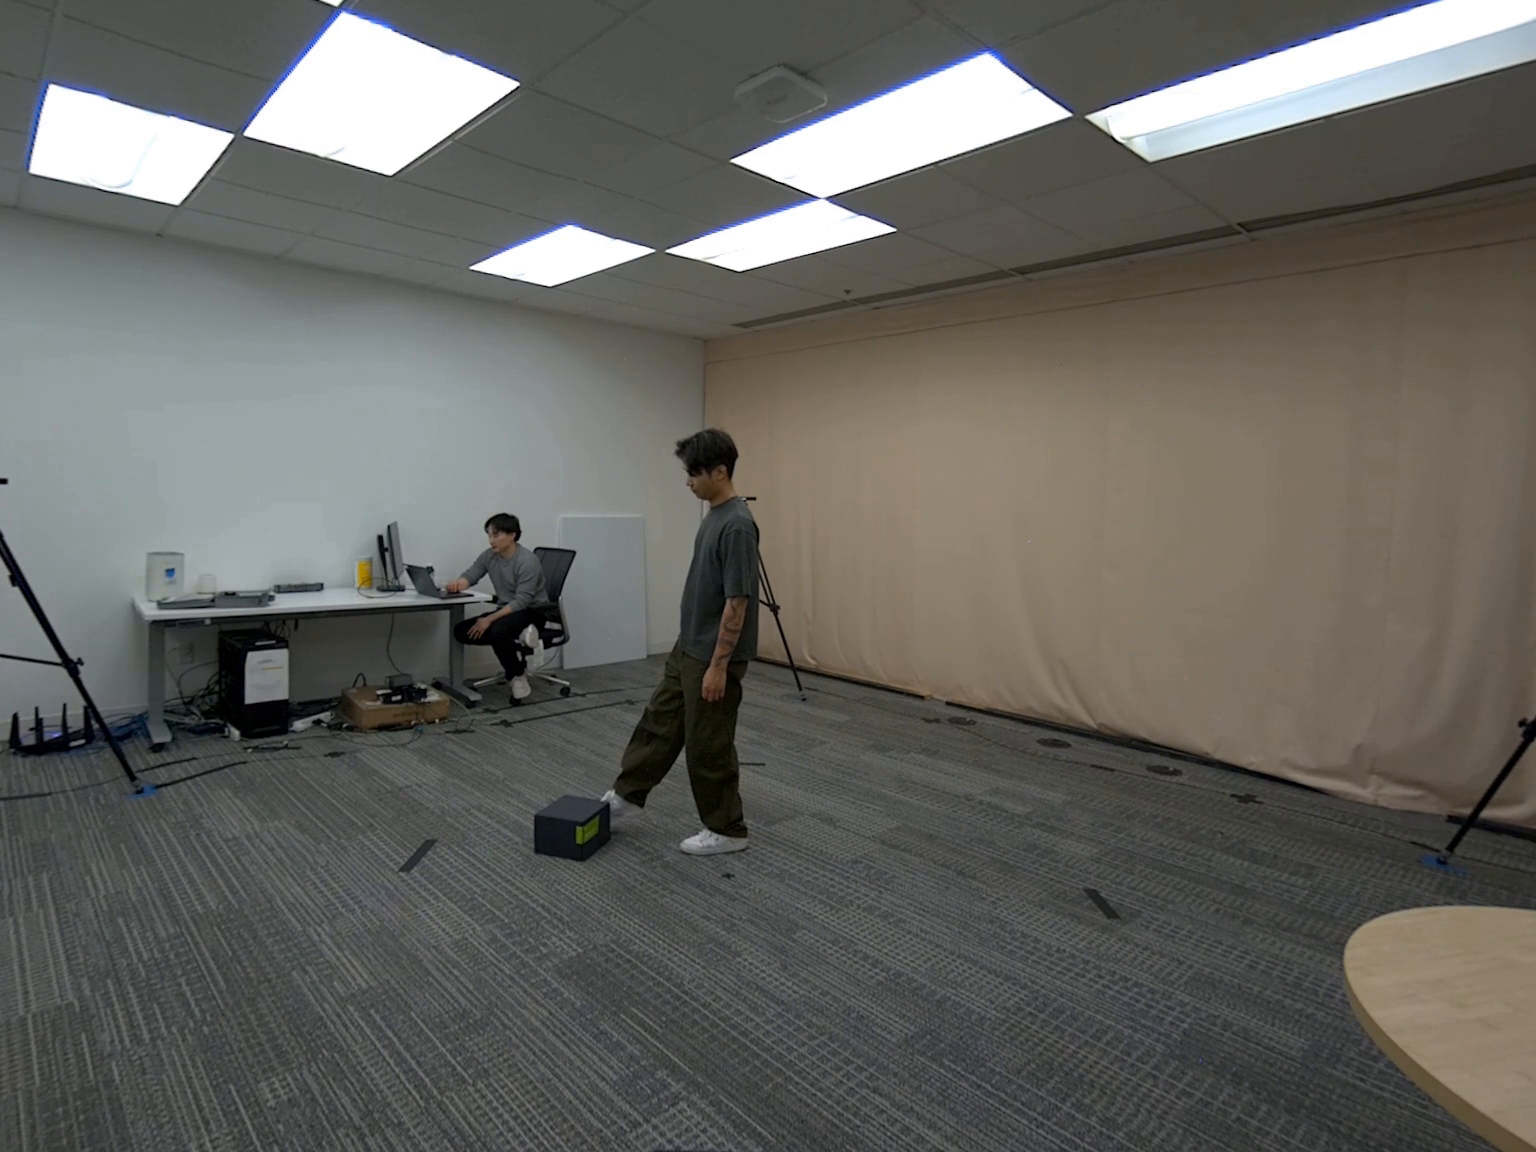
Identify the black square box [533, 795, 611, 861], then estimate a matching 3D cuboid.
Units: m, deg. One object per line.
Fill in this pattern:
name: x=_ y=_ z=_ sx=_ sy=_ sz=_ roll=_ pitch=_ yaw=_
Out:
black square box: x=-0.781 y=0.990 z=3.320 sx=0.220 sy=0.155 sz=0.225 roll=2 pitch=4 yaw=16
